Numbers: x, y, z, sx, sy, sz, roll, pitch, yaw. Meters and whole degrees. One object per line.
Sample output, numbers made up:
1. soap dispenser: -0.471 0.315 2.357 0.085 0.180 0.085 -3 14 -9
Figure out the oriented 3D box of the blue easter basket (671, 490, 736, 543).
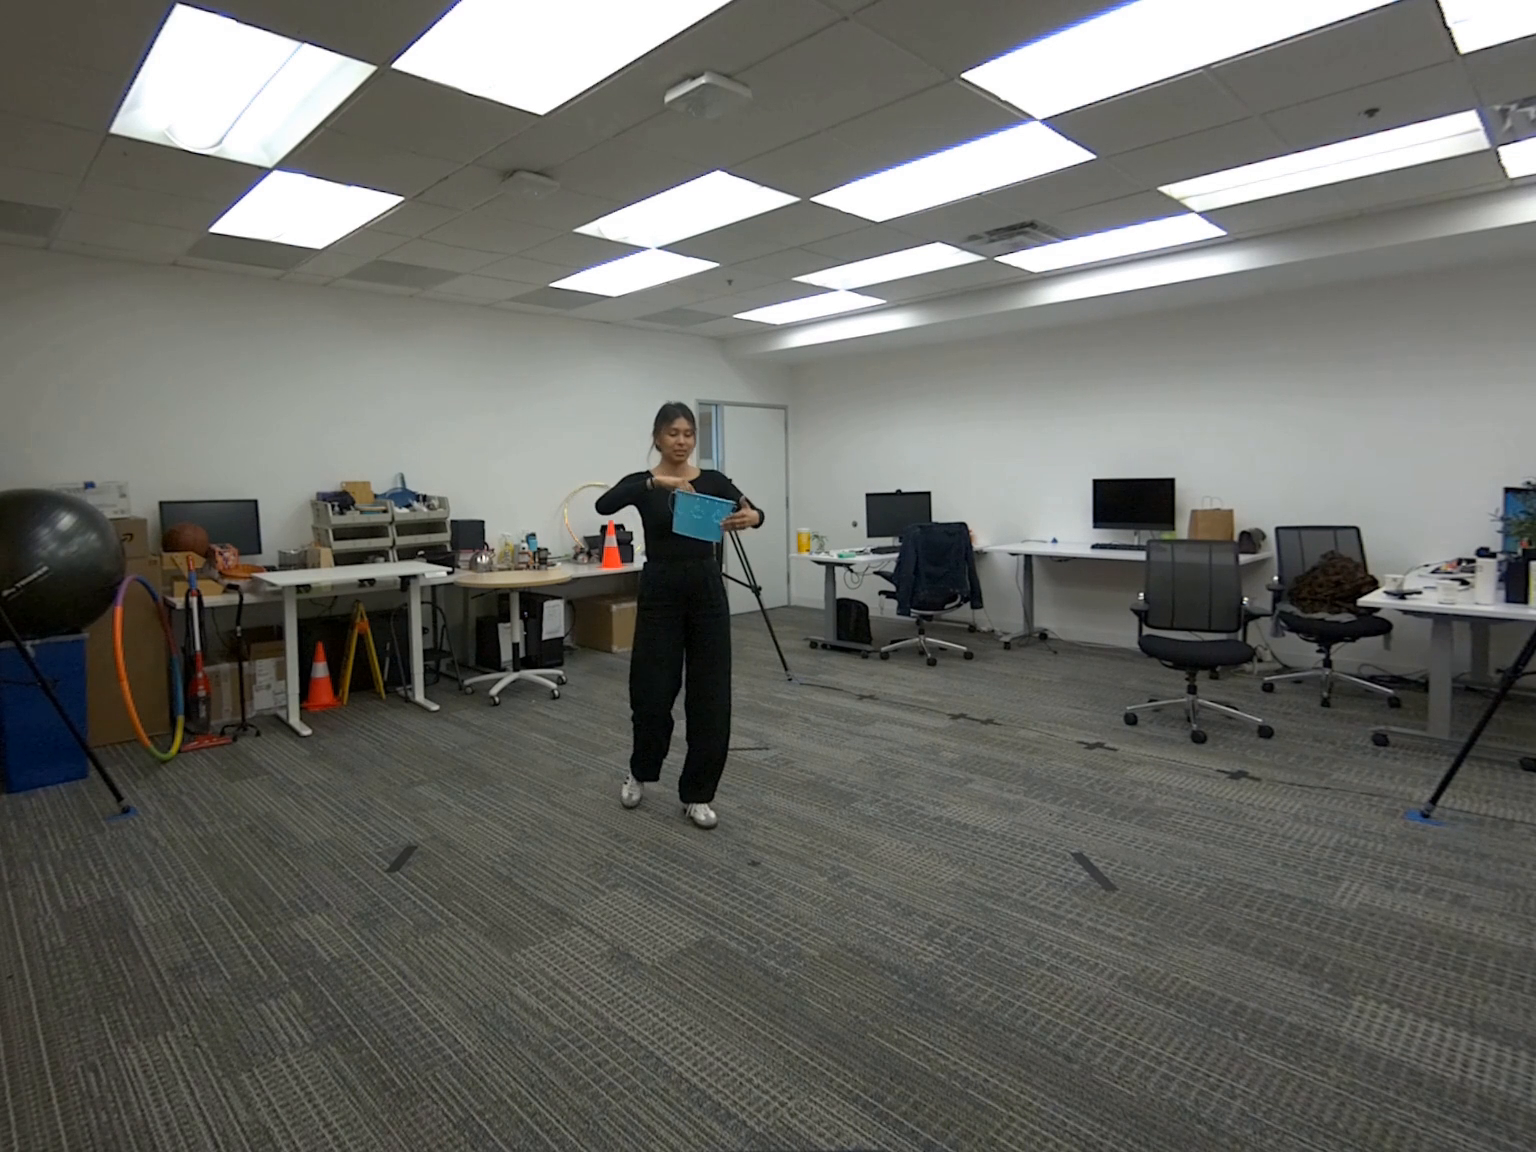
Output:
1. blue easter basket: -0.253 -0.212 3.122 0.243 0.155 0.245 11 5 -3
